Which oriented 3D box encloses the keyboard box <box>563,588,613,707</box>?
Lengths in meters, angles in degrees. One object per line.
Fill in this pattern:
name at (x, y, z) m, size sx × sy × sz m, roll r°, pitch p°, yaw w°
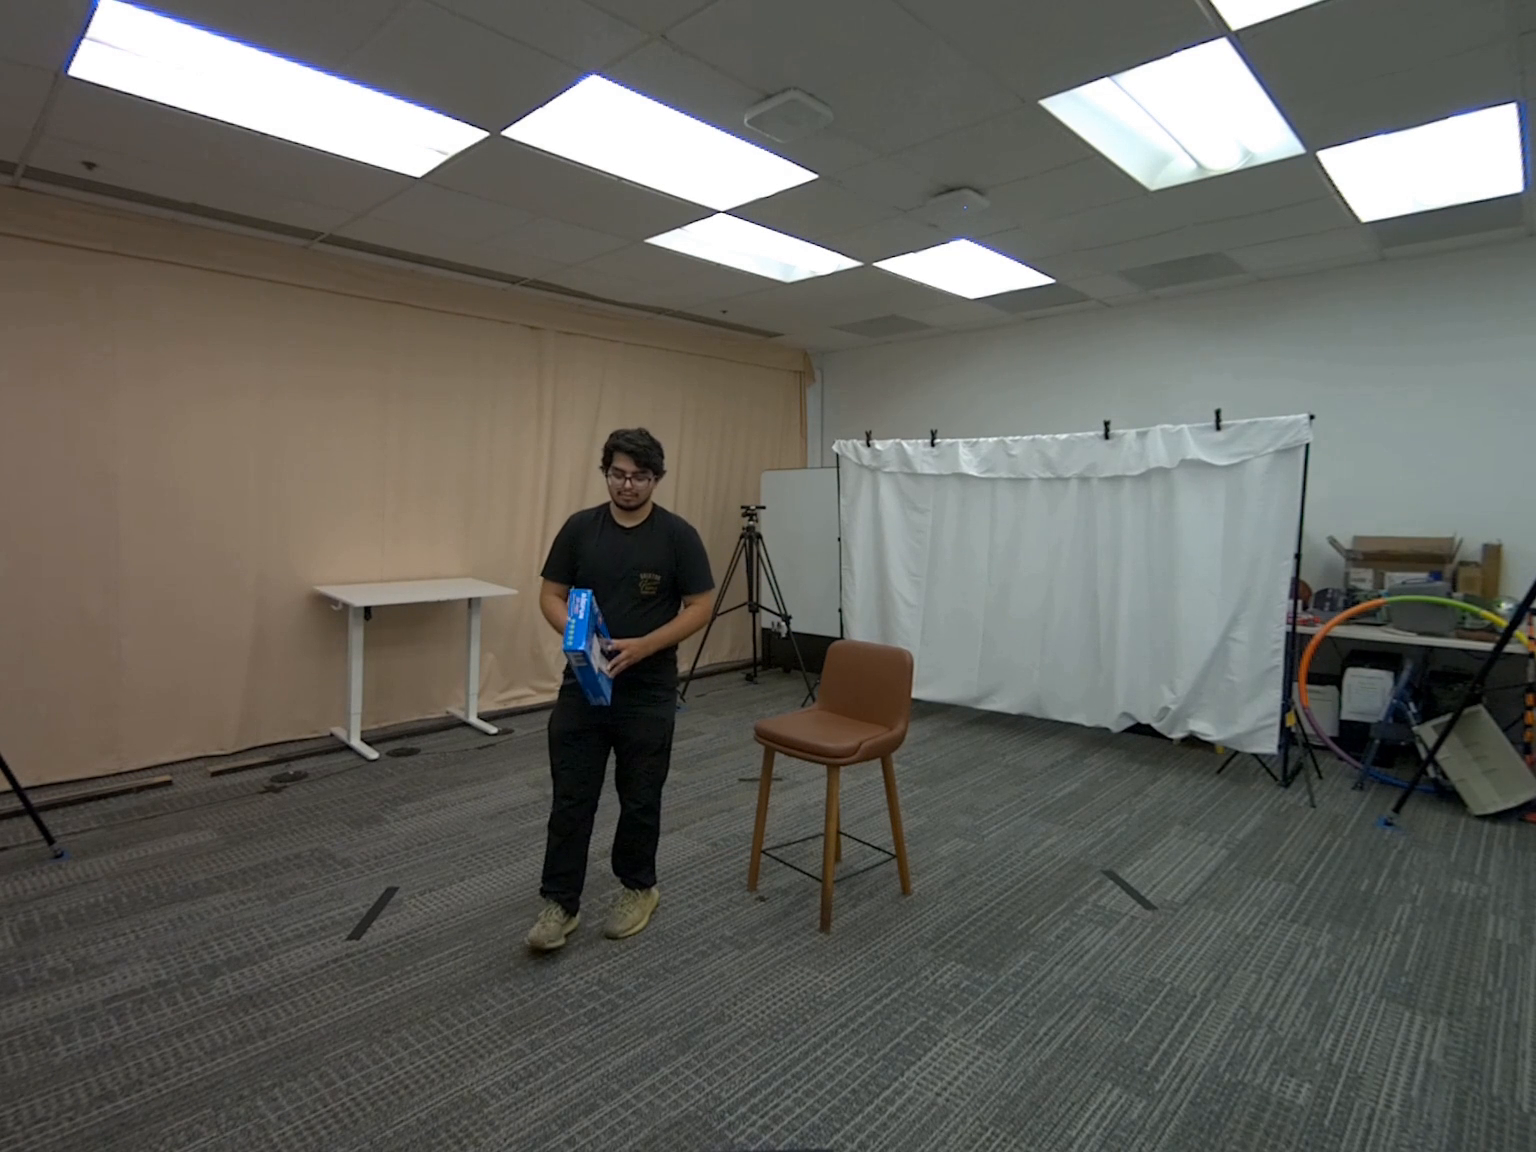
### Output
keyboard box at (-0.493, 0.211, 2.343) m, size 0.059 × 0.178 × 0.430 m, roll 2°, pitch -27°, yaw -2°
